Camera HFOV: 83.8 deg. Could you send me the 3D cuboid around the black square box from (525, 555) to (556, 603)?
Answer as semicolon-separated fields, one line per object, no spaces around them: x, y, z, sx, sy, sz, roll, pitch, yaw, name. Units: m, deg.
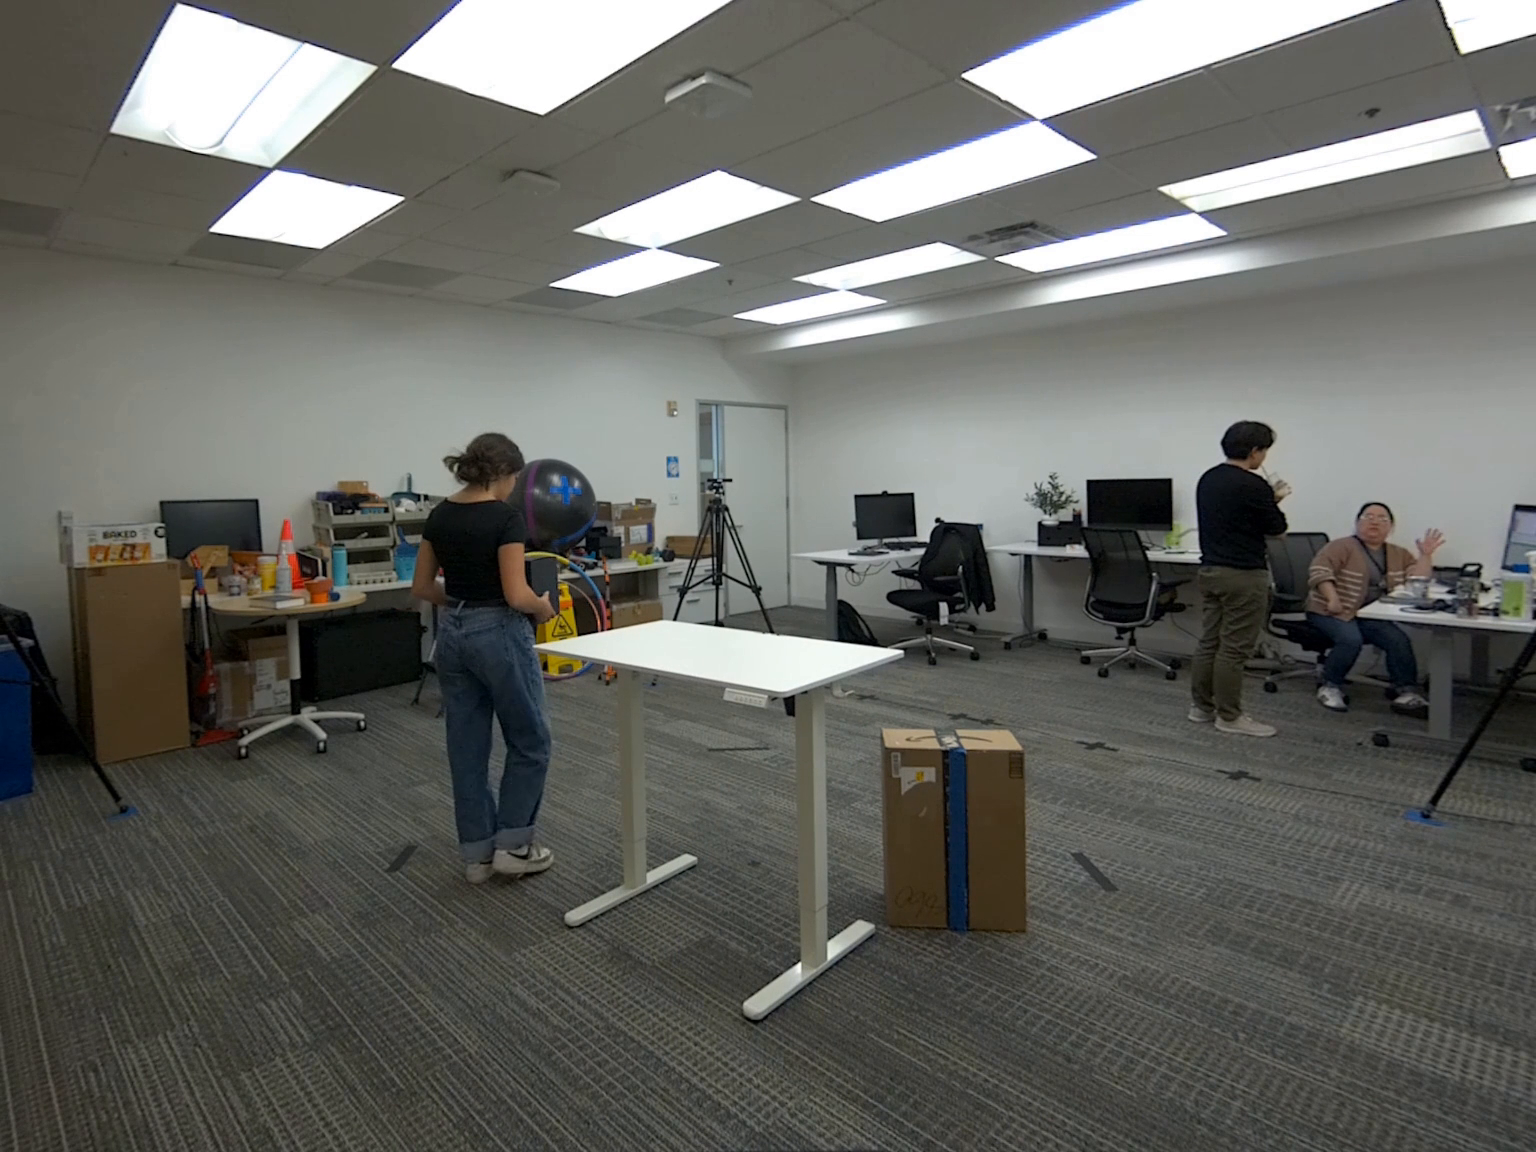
-0.942;0.043;3.231;0.222;0.227;0.153;-1;5;26;black square box
